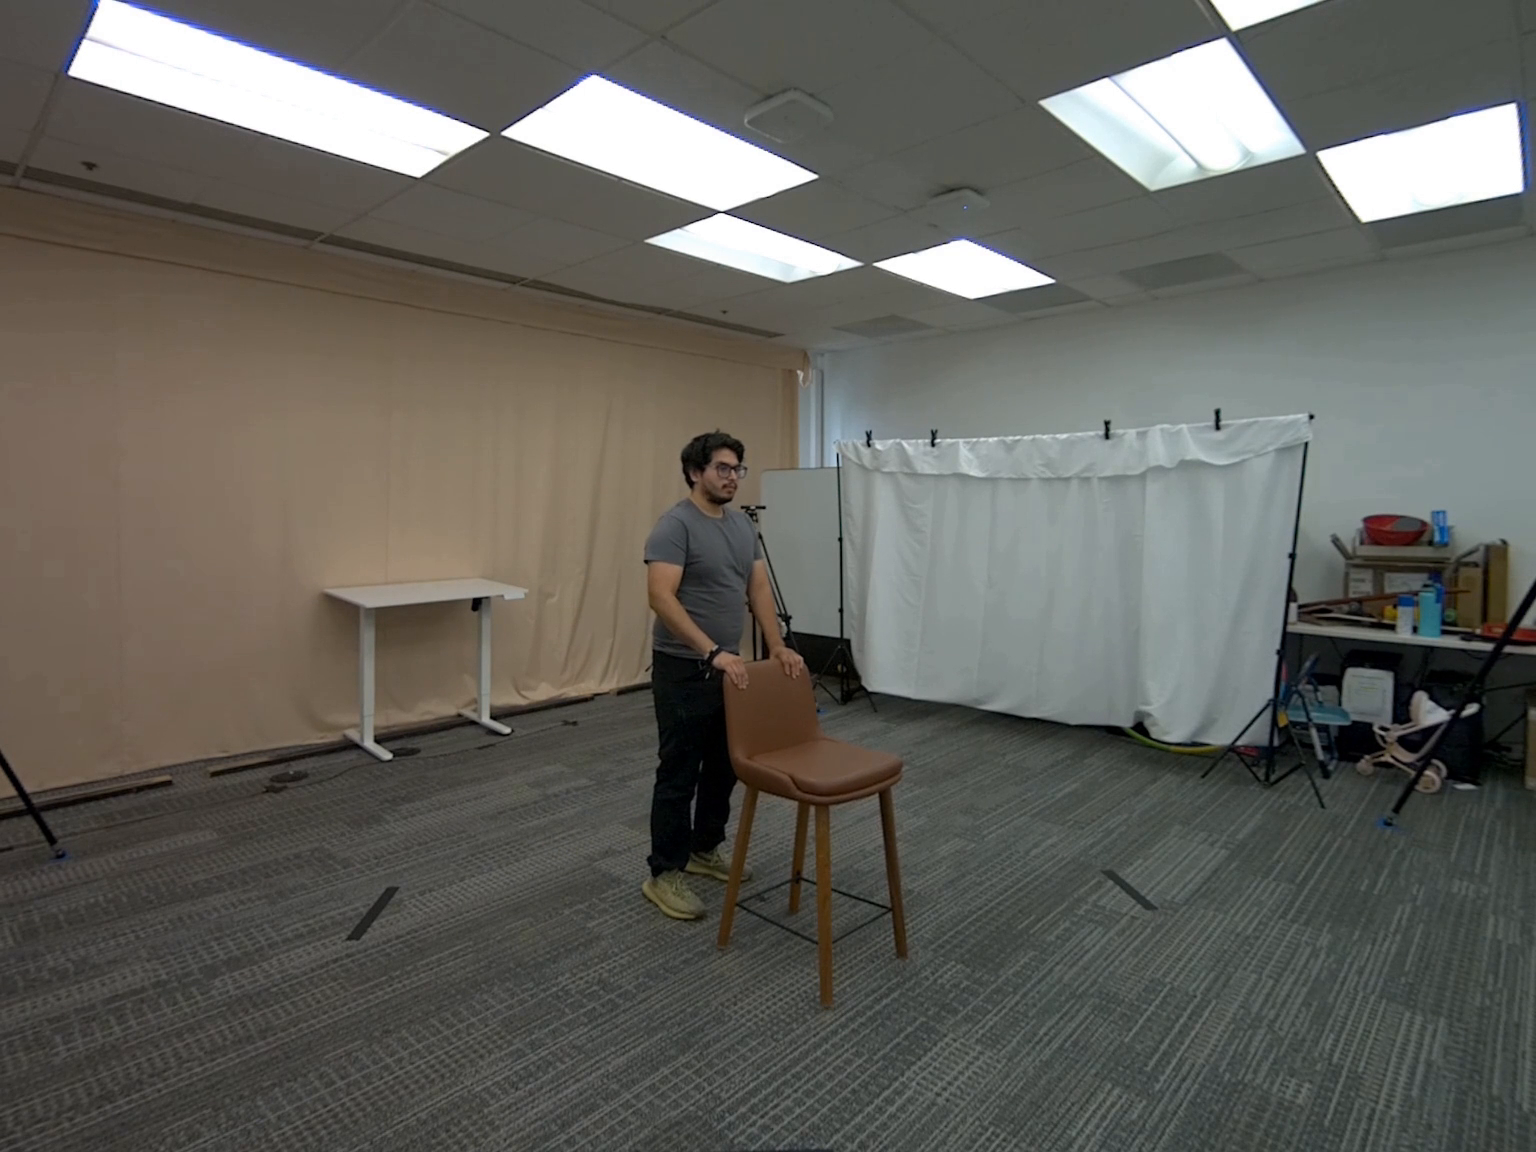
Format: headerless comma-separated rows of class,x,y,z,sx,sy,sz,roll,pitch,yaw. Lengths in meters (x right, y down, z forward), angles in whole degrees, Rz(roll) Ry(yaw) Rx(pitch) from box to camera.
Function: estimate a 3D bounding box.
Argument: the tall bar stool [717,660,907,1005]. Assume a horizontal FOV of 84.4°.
tall bar stool,0.138,0.731,2.611,0.483,0.889,0.442,0,1,44
